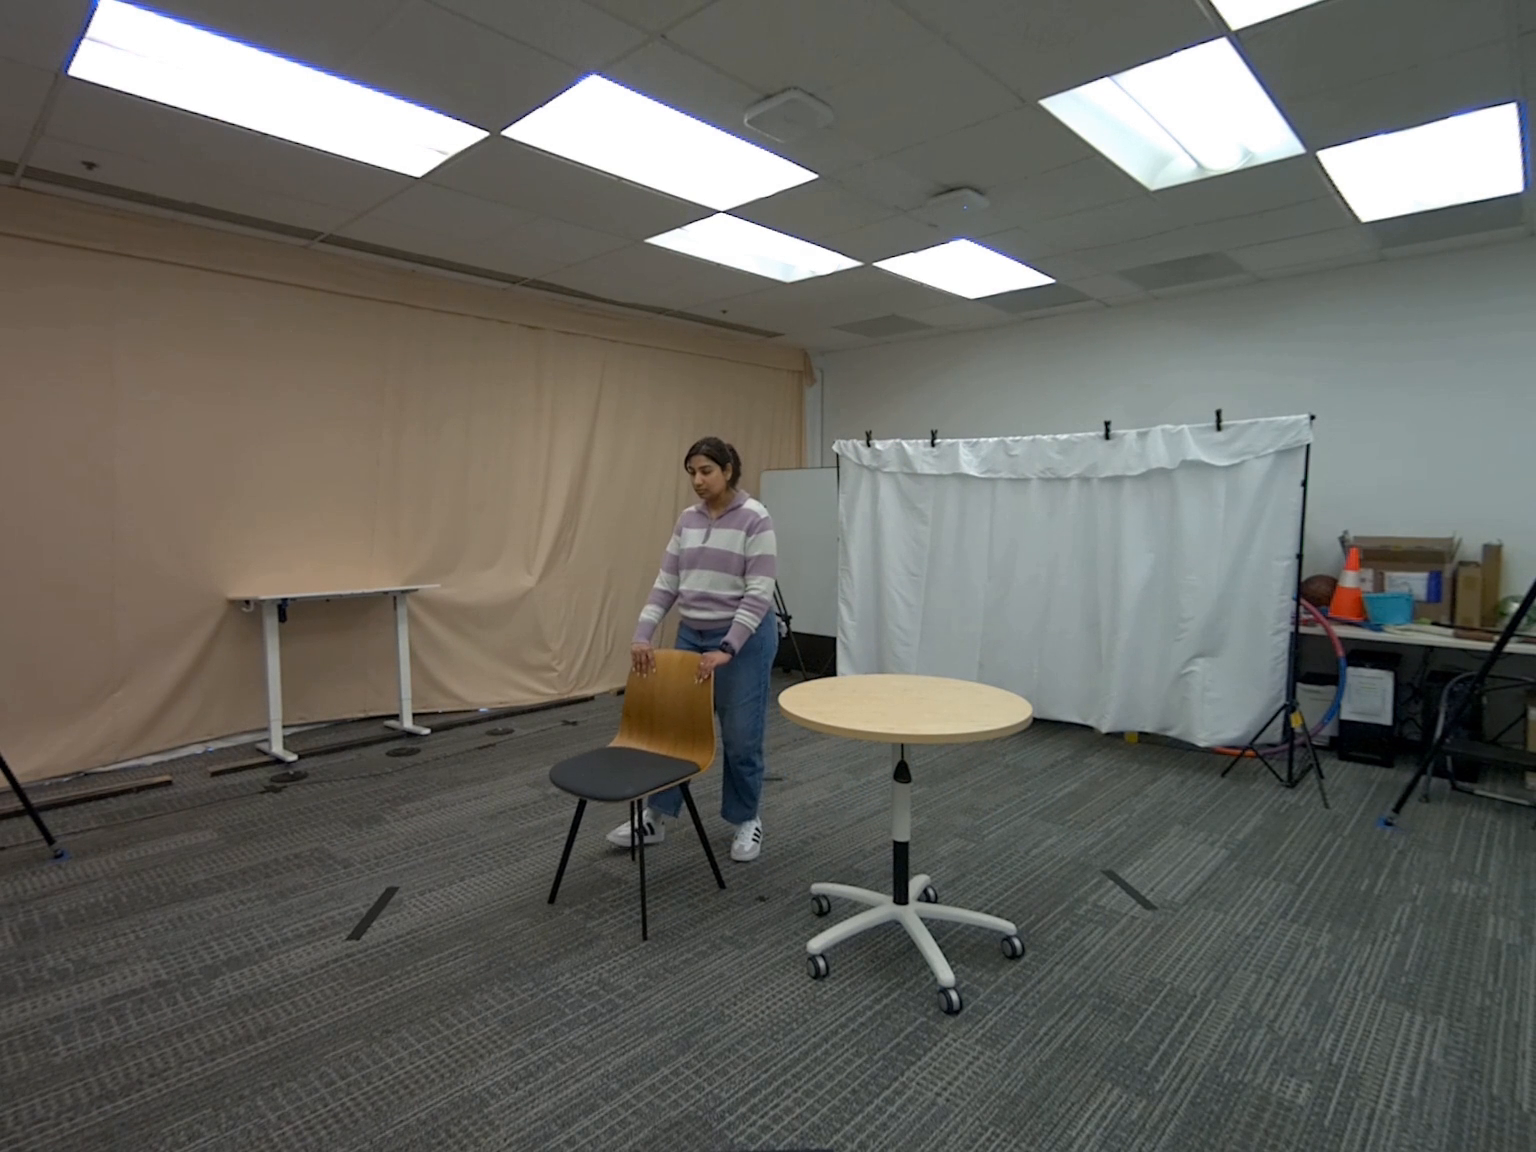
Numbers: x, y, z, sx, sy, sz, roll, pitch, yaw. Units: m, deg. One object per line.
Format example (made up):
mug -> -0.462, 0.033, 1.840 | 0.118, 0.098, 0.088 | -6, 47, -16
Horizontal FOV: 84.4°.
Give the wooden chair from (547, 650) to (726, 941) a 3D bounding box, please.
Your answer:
wooden chair -> -0.463, 0.720, 2.973 | 0.493, 0.877, 0.507 | 2, 0, 34
